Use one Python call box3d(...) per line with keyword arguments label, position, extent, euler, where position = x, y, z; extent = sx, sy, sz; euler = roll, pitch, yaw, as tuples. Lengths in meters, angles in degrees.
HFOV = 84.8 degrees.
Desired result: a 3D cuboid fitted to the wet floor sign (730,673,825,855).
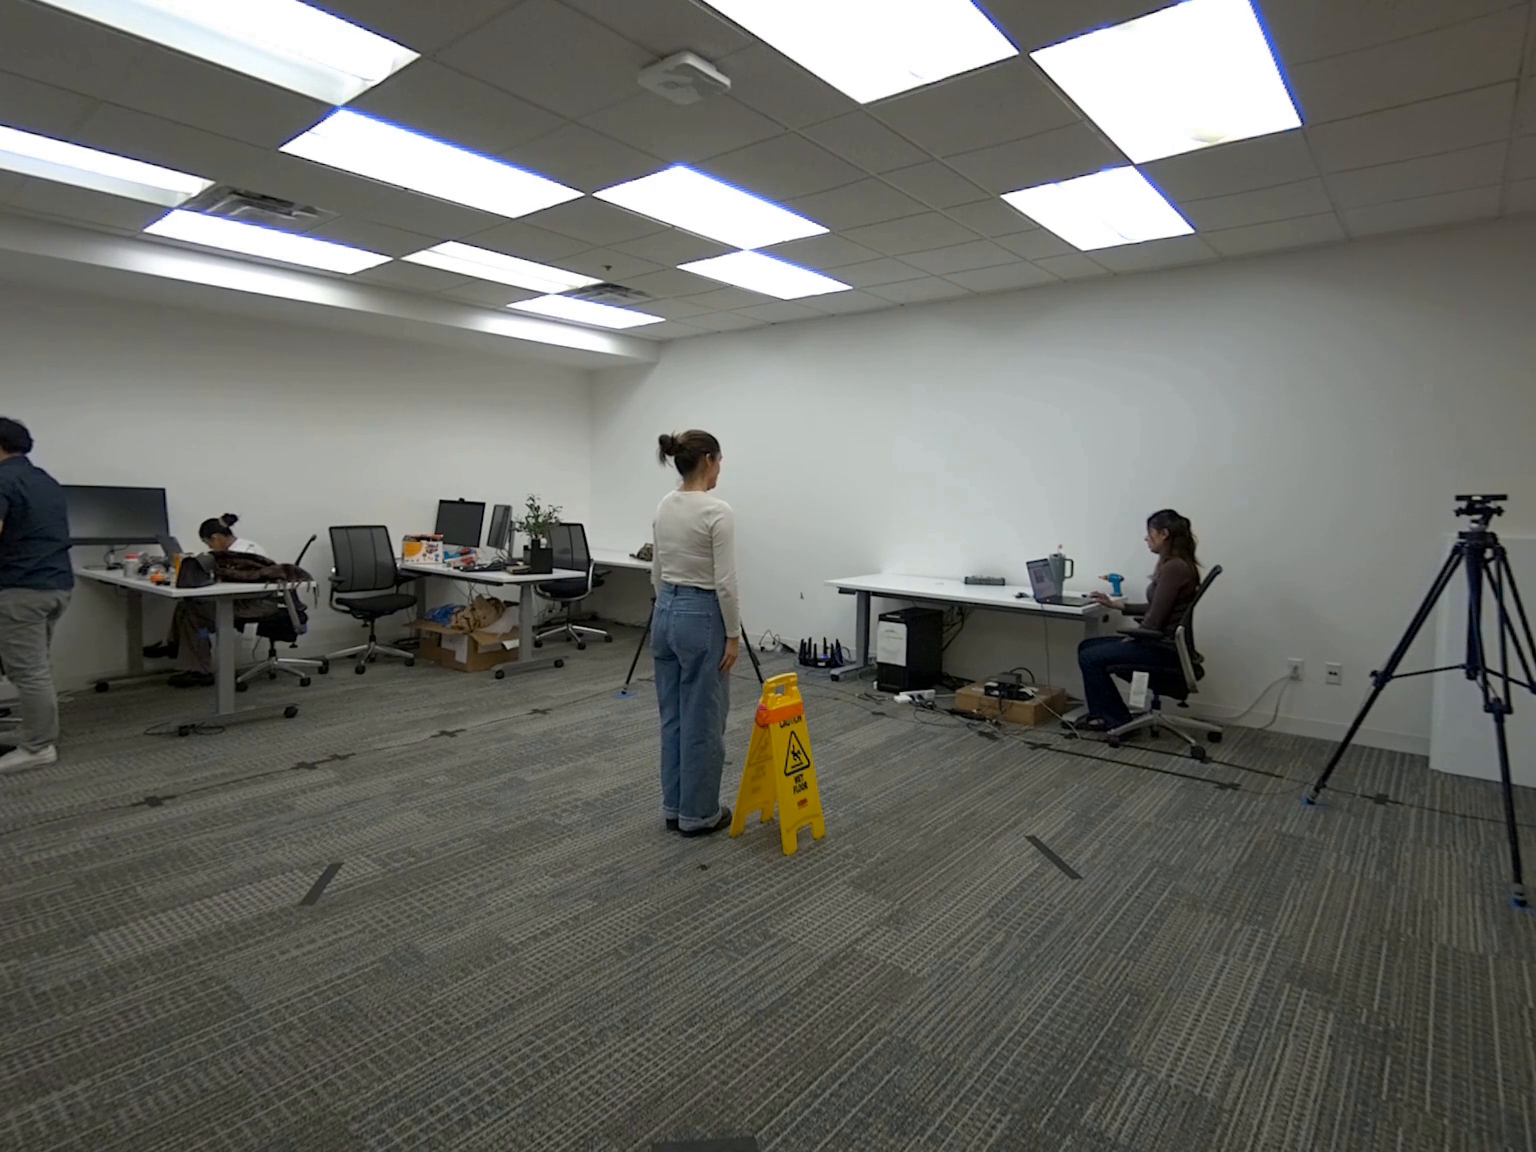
box3d(label="wet floor sign", position=(0.041, 0.718, 3.399), extent=(0.299, 0.644, 0.274), euler=(4, 5, 39))
